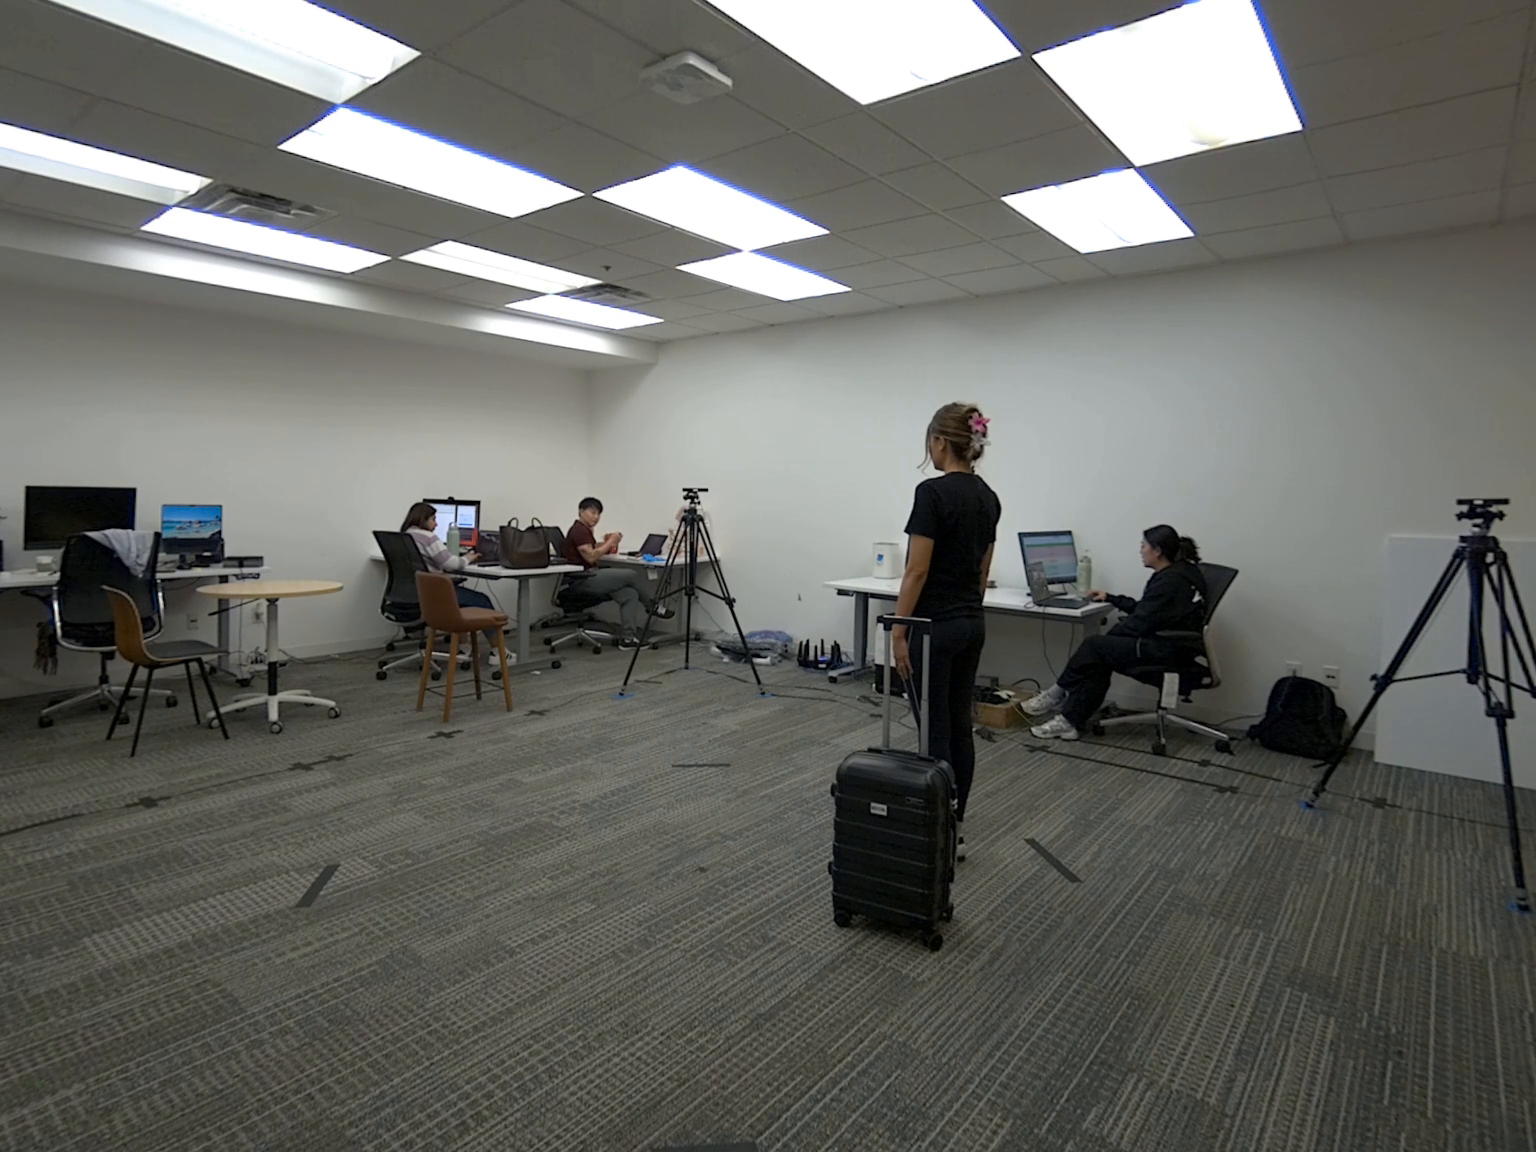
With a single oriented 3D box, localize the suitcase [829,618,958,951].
[{"bbox_3d":[0.407,0.641,2.729,0.394,0.974,0.251,3,5,26],"label":"suitcase"}]
